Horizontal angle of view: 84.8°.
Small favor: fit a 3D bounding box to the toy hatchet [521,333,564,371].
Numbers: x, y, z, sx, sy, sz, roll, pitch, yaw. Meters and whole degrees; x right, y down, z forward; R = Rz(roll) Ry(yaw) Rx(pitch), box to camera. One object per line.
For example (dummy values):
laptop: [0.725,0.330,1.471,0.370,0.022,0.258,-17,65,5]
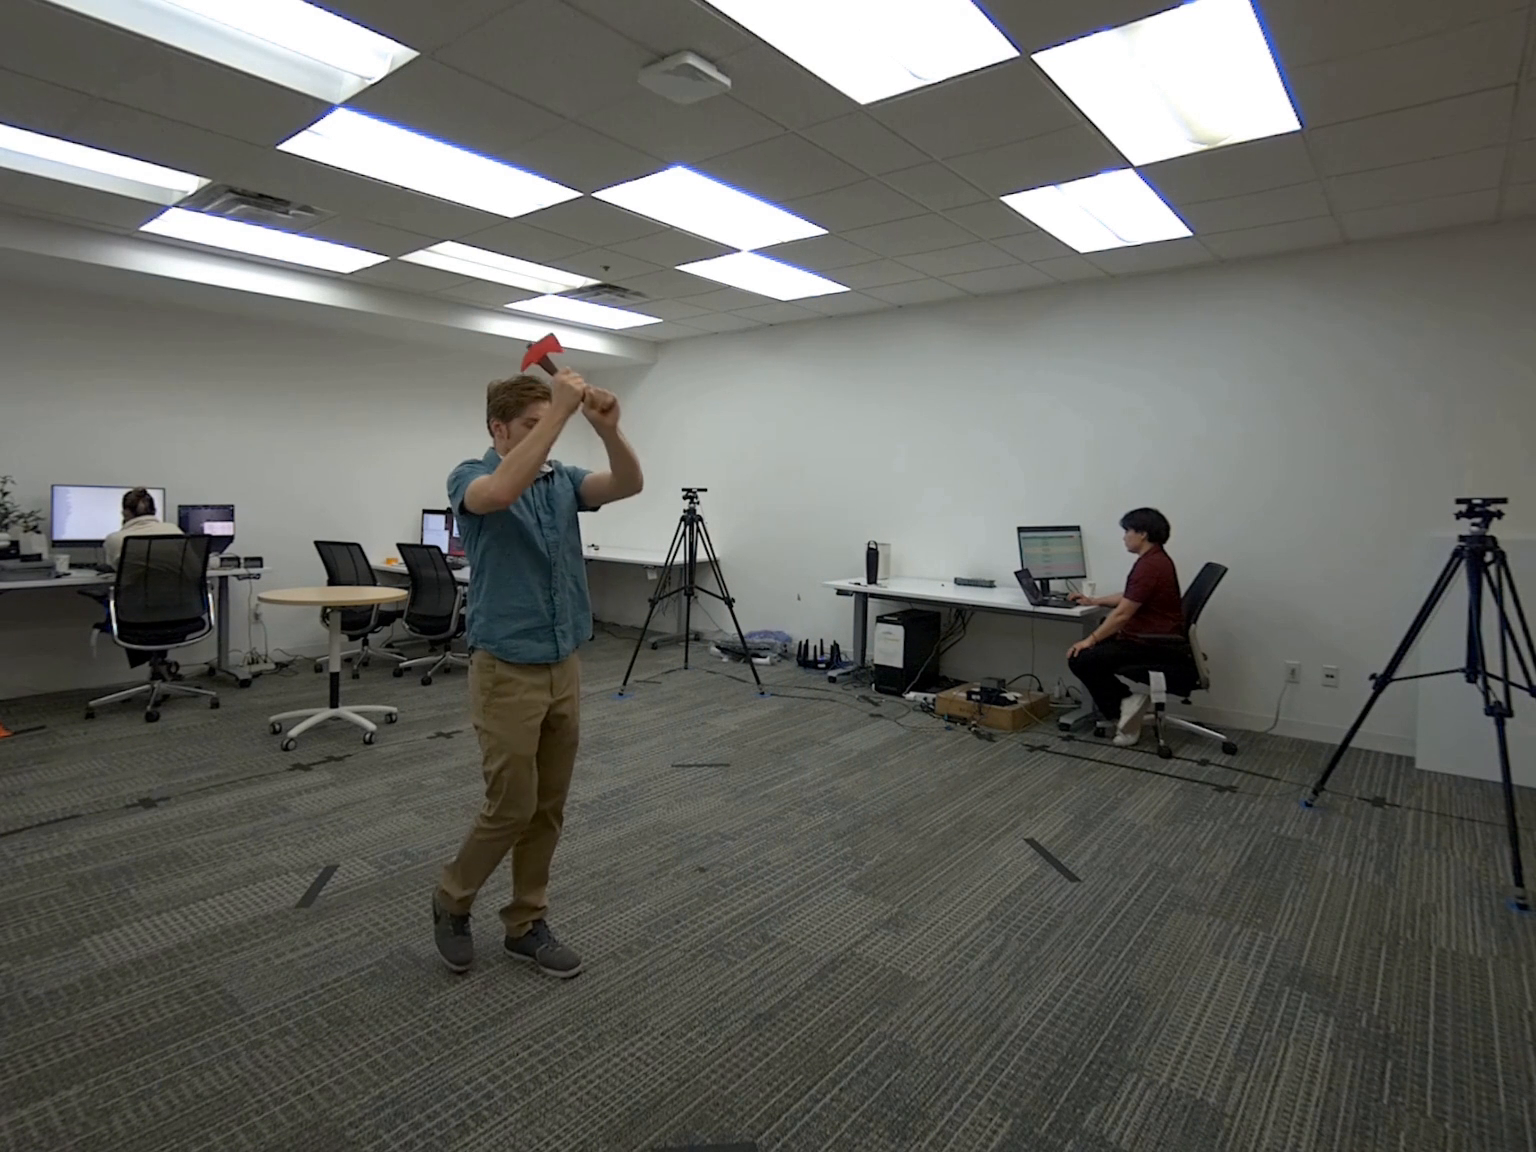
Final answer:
toy hatchet: [-0.518,-0.548,2.232,0.269,0.130,0.030,15,13,-3]
